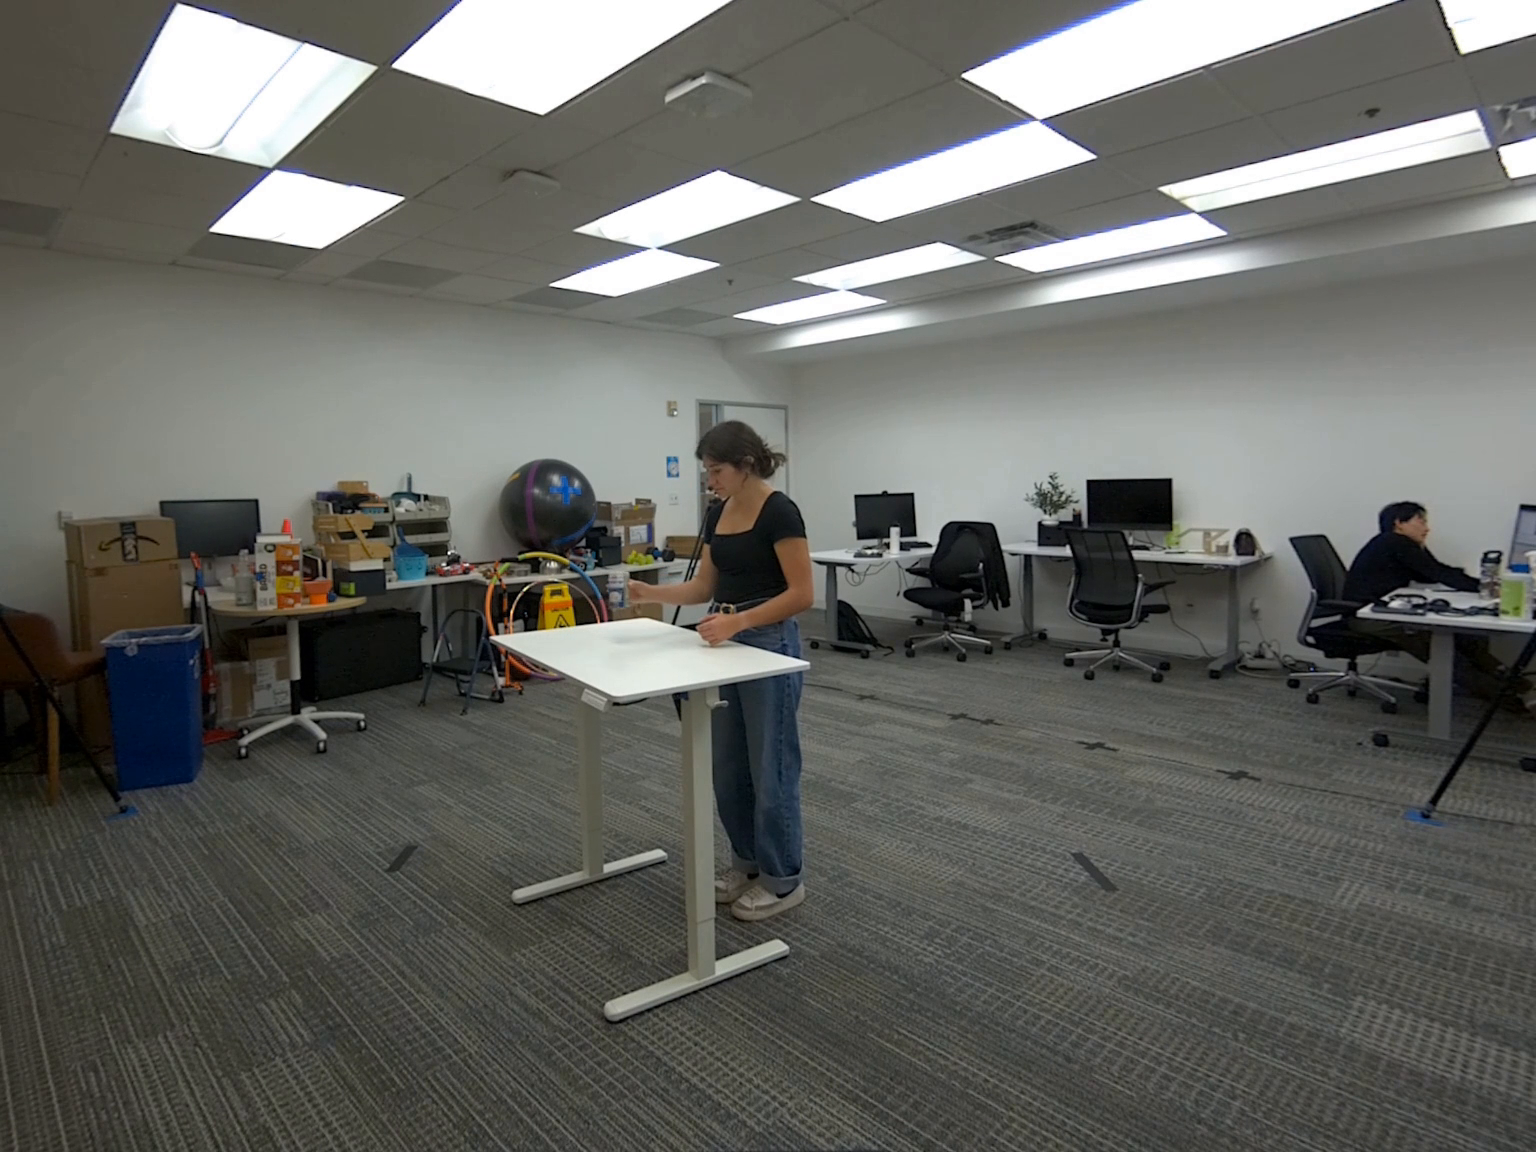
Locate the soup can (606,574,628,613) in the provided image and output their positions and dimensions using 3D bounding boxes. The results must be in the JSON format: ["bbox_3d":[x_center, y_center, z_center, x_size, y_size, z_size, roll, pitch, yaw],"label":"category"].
[{"bbox_3d":[-0.476,0.046,2.749,0.067,0.122,0.067,0,-4,-2],"label":"soup can"}]
